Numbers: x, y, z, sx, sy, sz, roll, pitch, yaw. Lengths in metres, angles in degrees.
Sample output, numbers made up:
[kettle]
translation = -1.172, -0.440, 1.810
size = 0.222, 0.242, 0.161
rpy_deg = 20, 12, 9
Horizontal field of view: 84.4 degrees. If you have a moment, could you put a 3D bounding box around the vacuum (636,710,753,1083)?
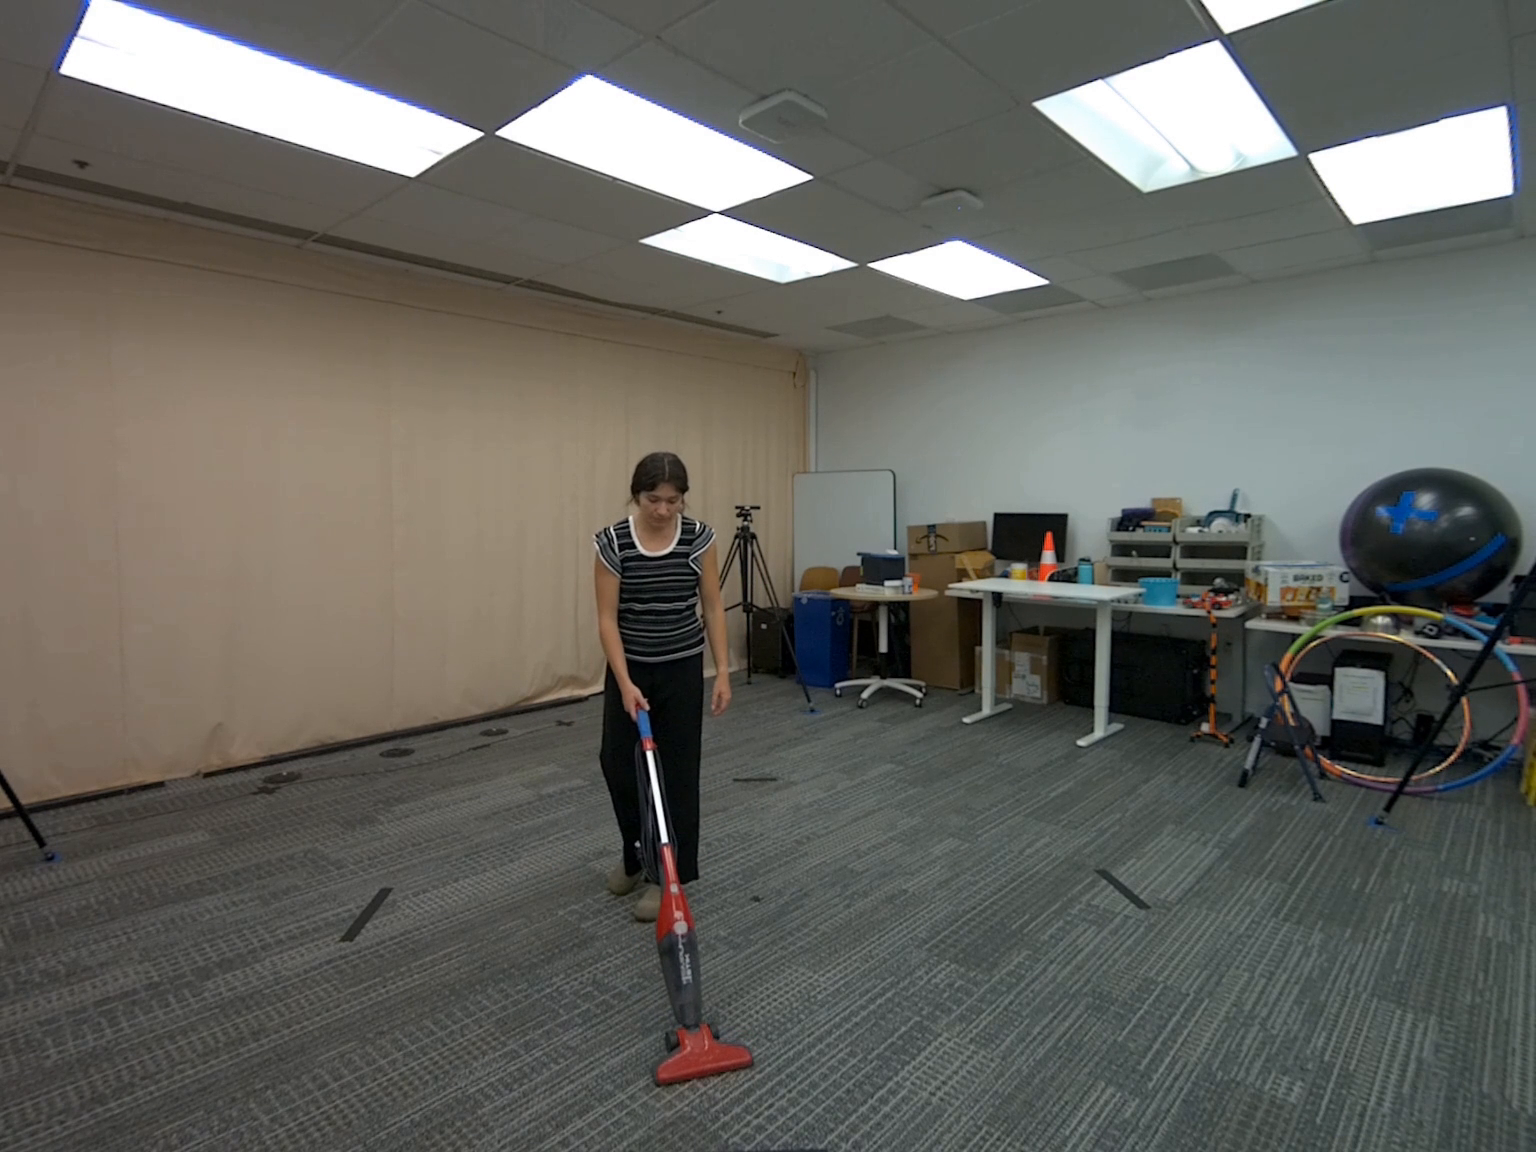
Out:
[vacuum]
translation = -0.303, 0.800, 2.444
size = 0.247, 1.077, 0.143
rpy_deg = 2, -42, -23
